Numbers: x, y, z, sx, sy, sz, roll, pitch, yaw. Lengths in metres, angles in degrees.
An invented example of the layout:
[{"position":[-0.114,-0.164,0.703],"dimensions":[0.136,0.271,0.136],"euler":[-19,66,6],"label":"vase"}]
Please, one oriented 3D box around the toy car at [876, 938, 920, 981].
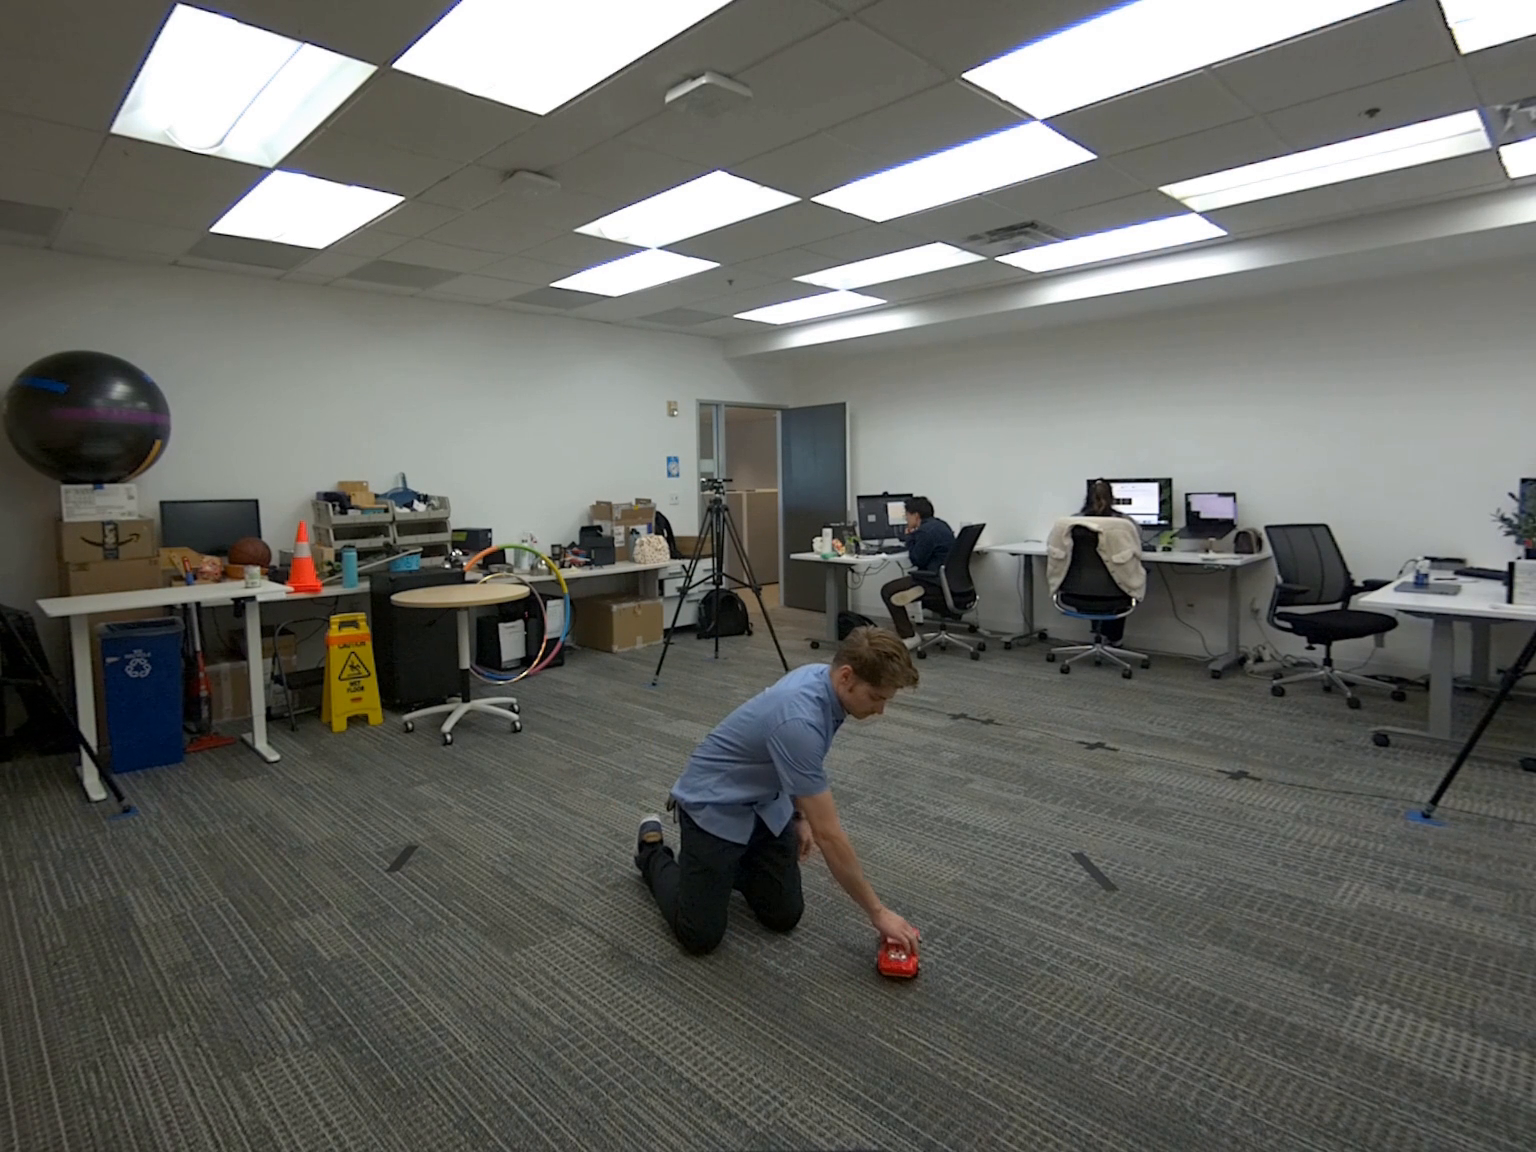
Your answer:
[{"position":[0.374,1.079,2.447],"dimensions":[0.132,0.083,0.250],"euler":[2,-4,14],"label":"toy car"}]
